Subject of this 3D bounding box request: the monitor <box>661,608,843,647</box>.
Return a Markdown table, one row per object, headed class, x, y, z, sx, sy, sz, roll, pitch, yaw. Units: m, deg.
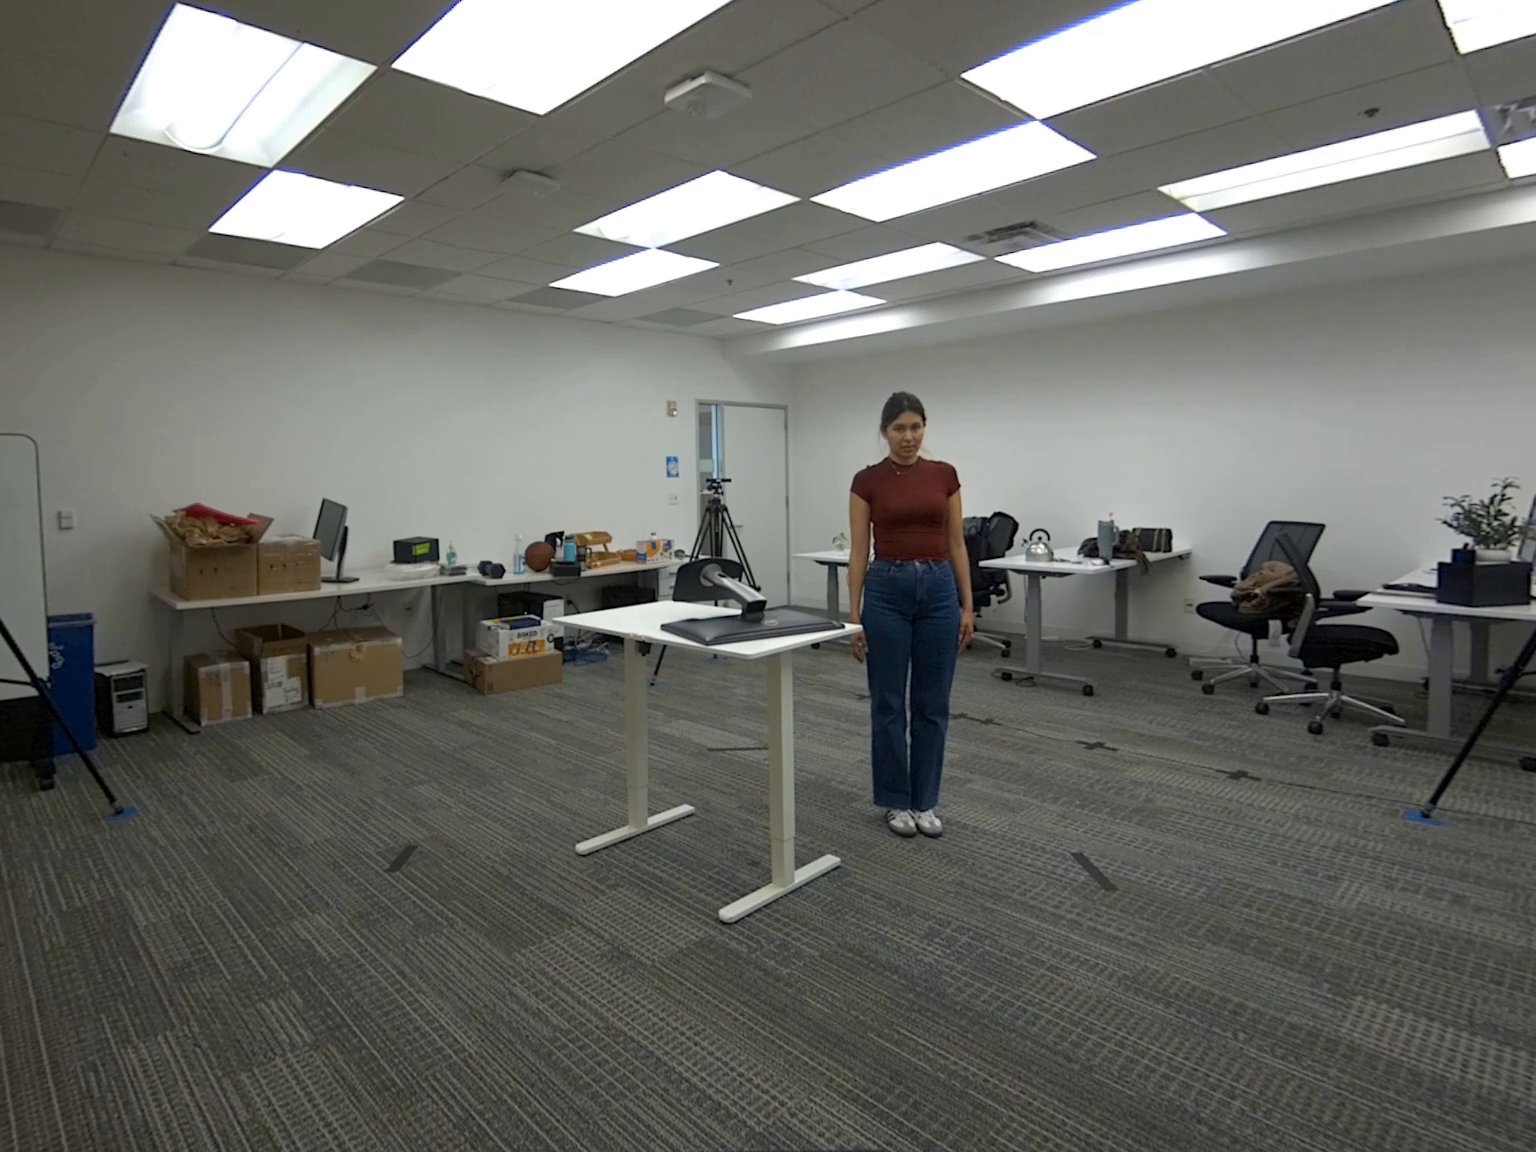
| class | x | y | z | sx | sy | sz | roll | pitch | yaw |
| --- | --- | --- | --- | --- | --- | --- | --- | --- | --- |
| monitor | -0.090 | 0.109 | 3.003 | 0.527 | 0.184 | 0.542 | -5 | 24 | -29 |
